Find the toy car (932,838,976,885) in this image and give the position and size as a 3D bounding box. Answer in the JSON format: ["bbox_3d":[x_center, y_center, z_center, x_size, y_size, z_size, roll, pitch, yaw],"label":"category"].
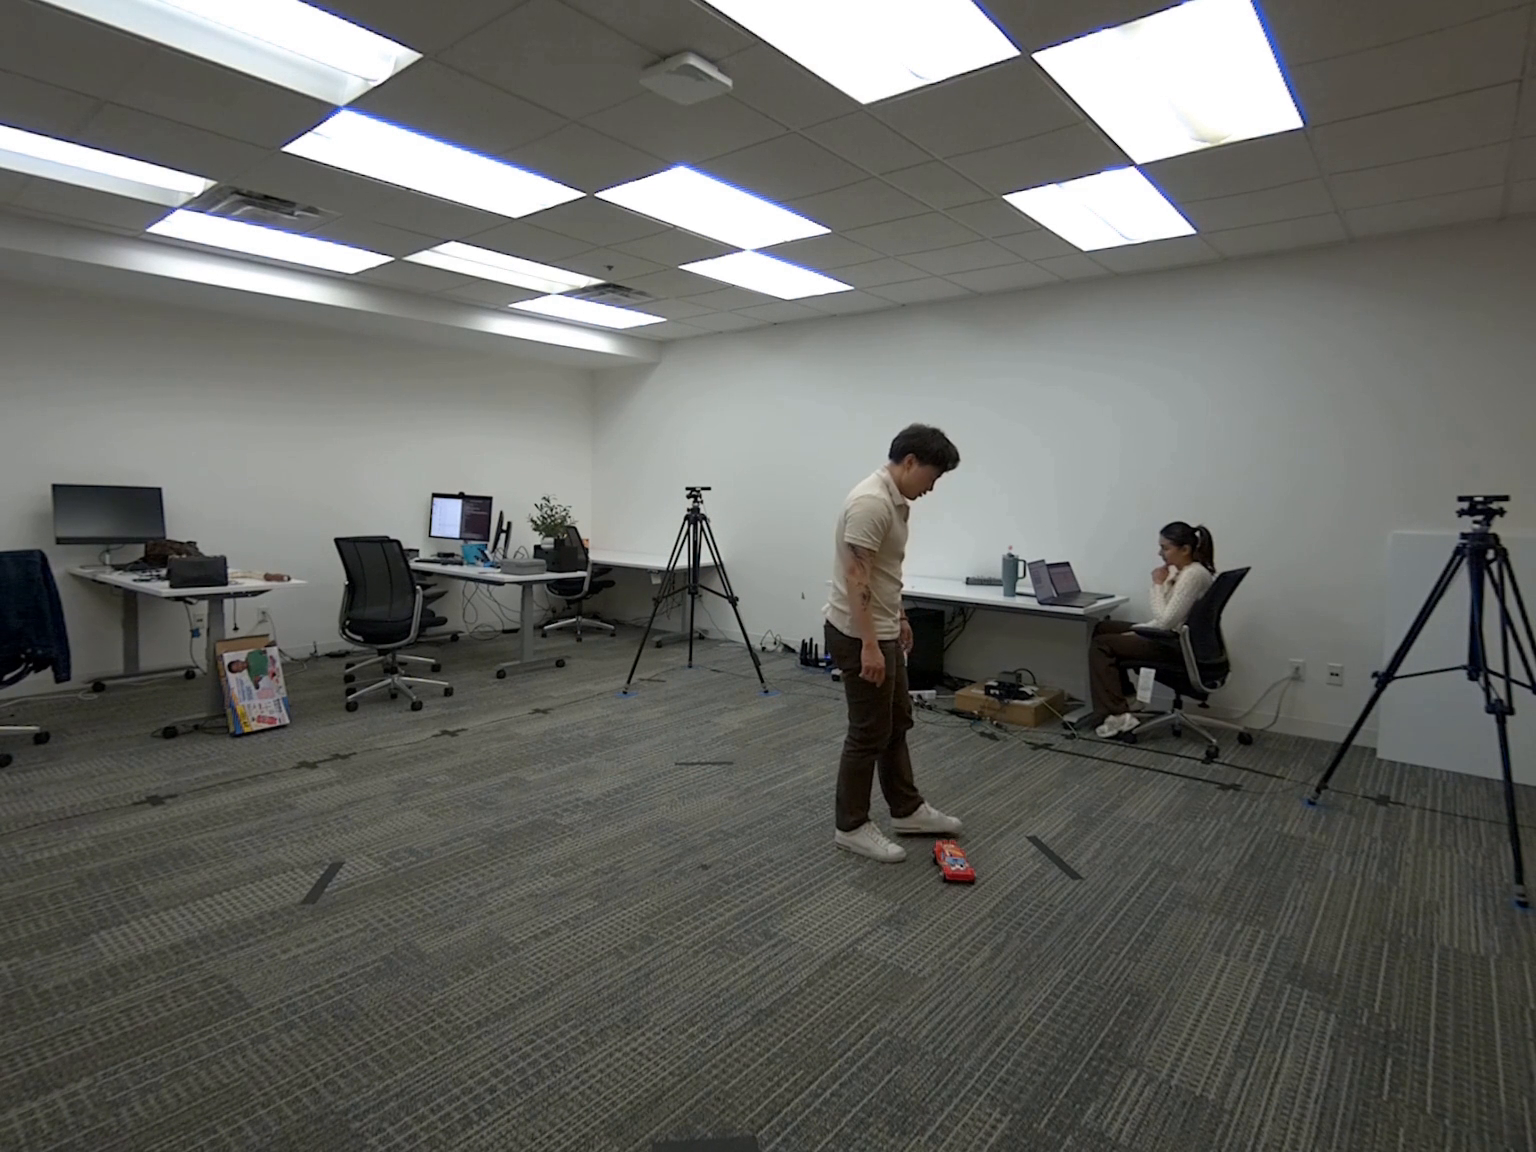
[{"bbox_3d":[0.684,1.052,3.143,0.131,0.082,0.258,0,17,1],"label":"toy car"}]
